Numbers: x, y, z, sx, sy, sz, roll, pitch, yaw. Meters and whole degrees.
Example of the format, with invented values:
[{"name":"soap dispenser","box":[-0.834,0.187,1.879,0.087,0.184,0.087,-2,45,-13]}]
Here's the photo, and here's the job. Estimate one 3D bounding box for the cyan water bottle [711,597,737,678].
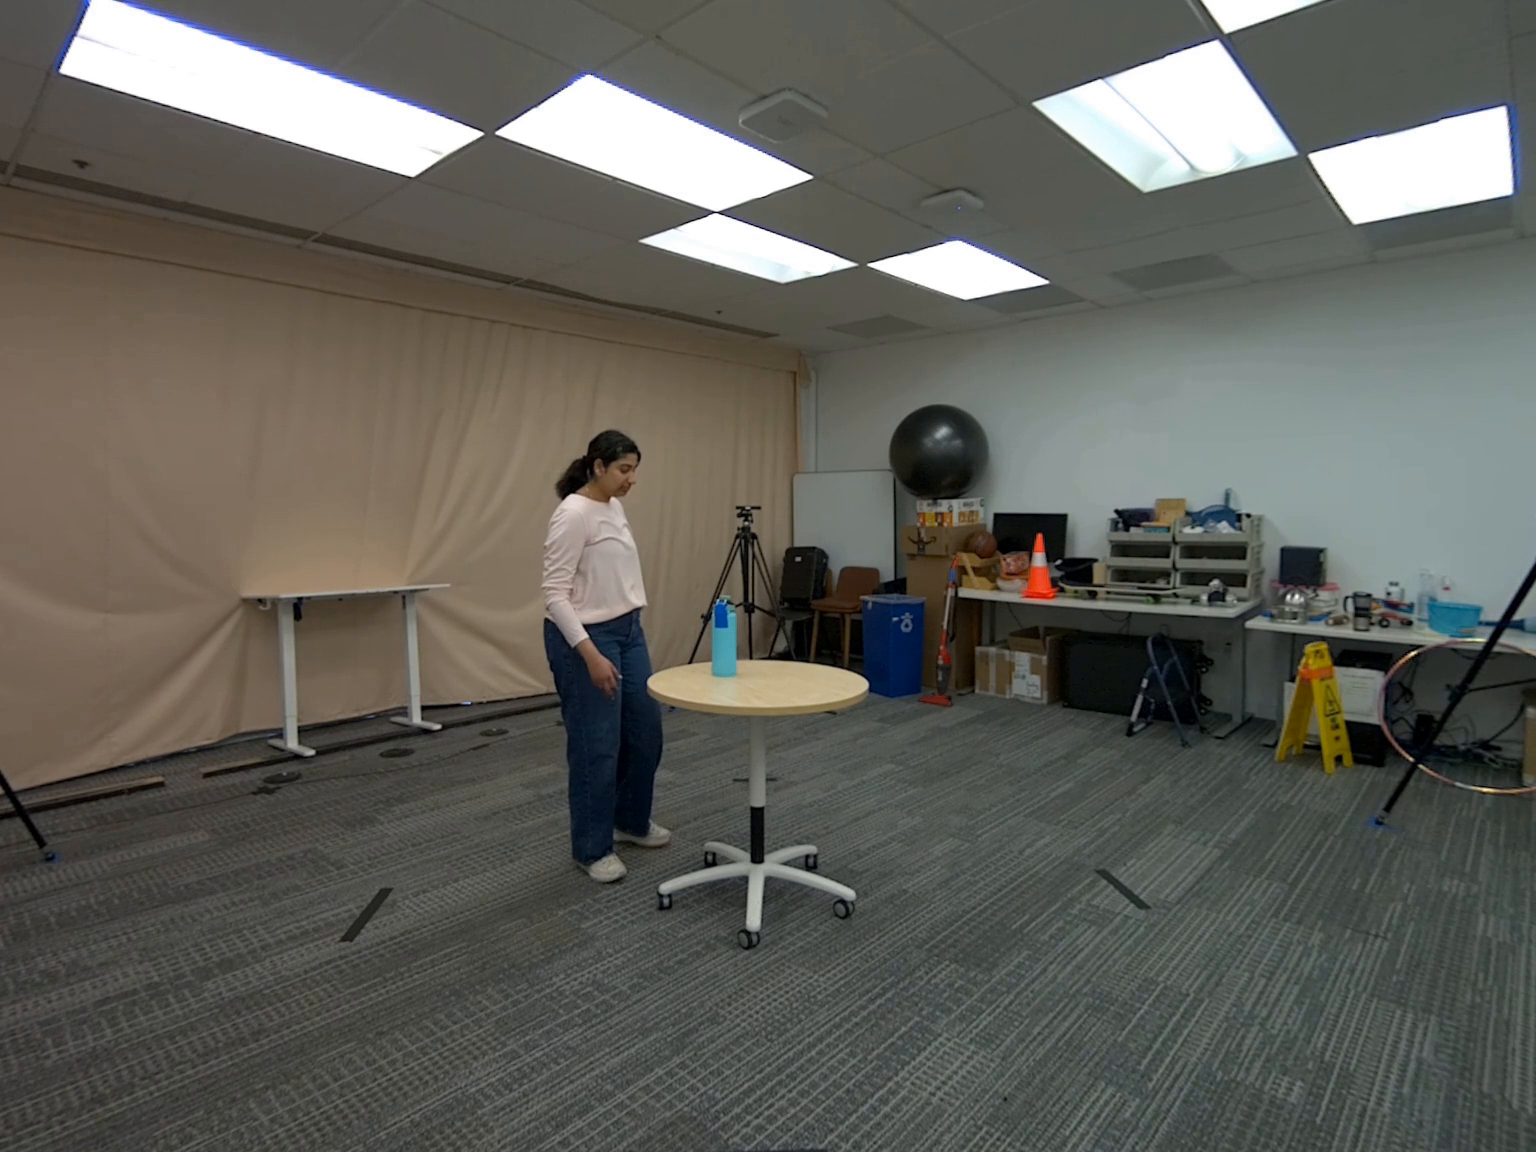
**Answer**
[{"name":"cyan water bottle","box":[-0.156,0.216,3.024,0.092,0.283,0.092,0,4,-2]}]
